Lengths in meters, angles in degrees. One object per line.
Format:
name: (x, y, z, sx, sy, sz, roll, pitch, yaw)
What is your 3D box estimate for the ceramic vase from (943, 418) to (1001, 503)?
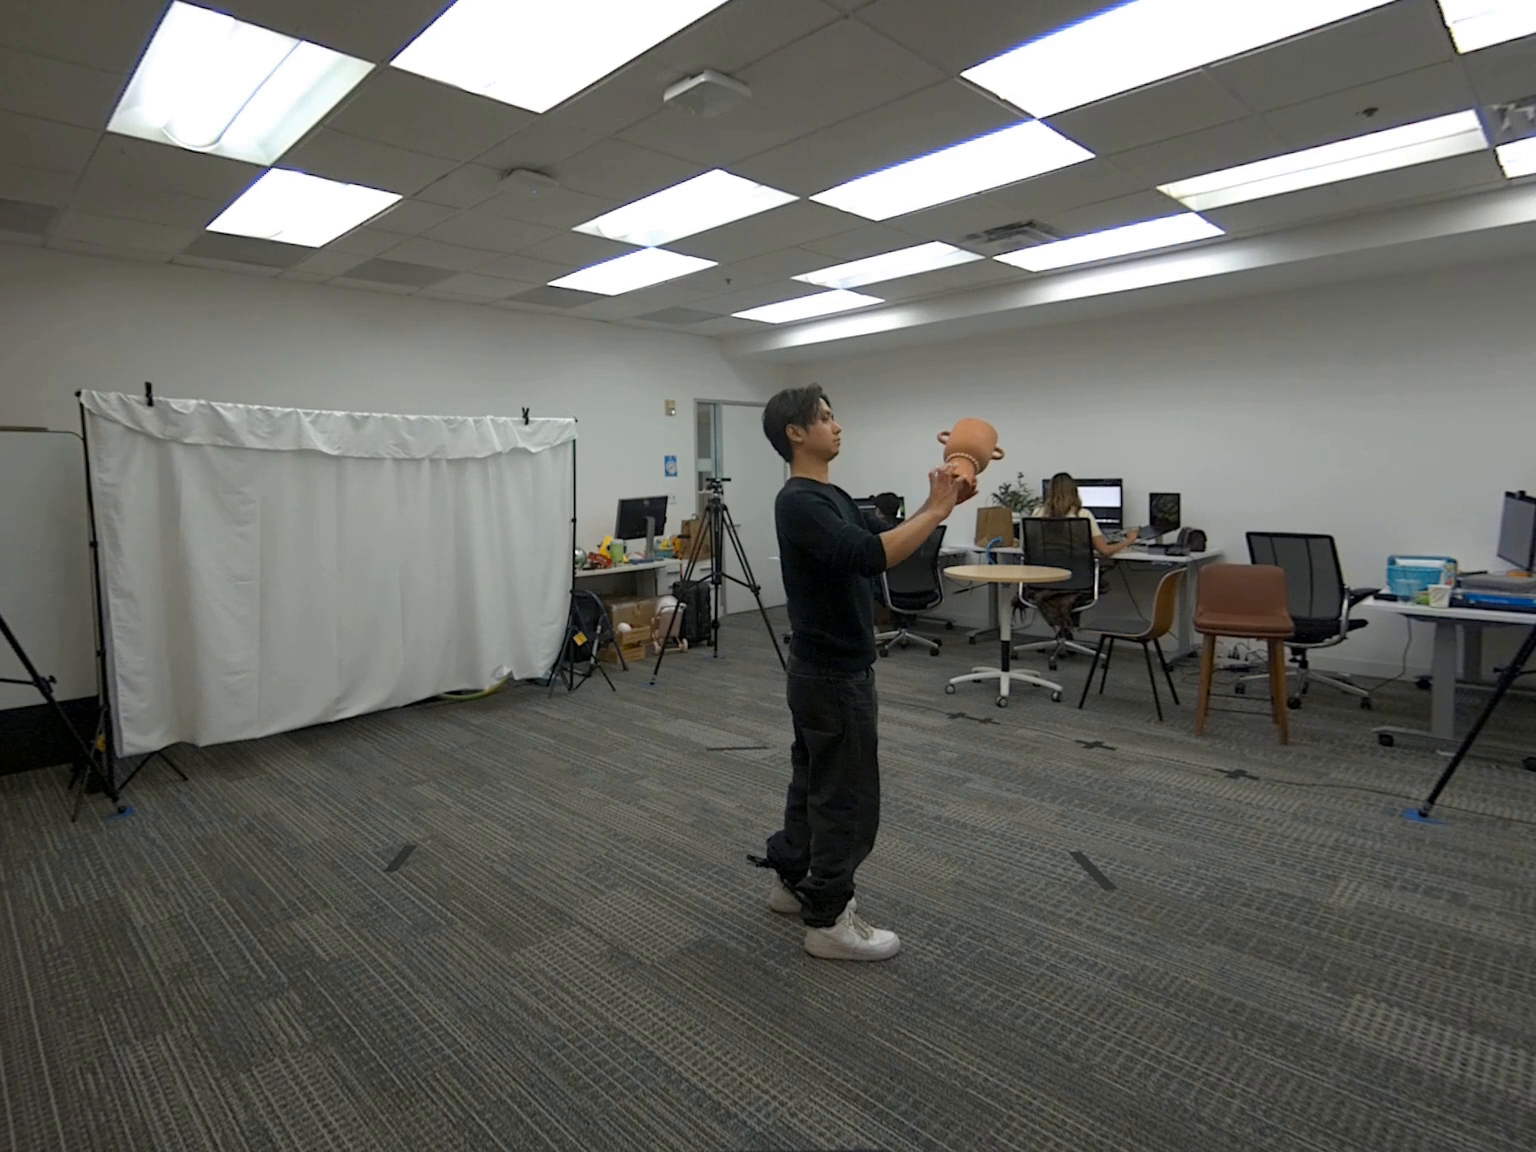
ceramic vase: (0.569, -0.337, 2.471, 0.163, 0.221, 0.130, -7, -47, 44)
